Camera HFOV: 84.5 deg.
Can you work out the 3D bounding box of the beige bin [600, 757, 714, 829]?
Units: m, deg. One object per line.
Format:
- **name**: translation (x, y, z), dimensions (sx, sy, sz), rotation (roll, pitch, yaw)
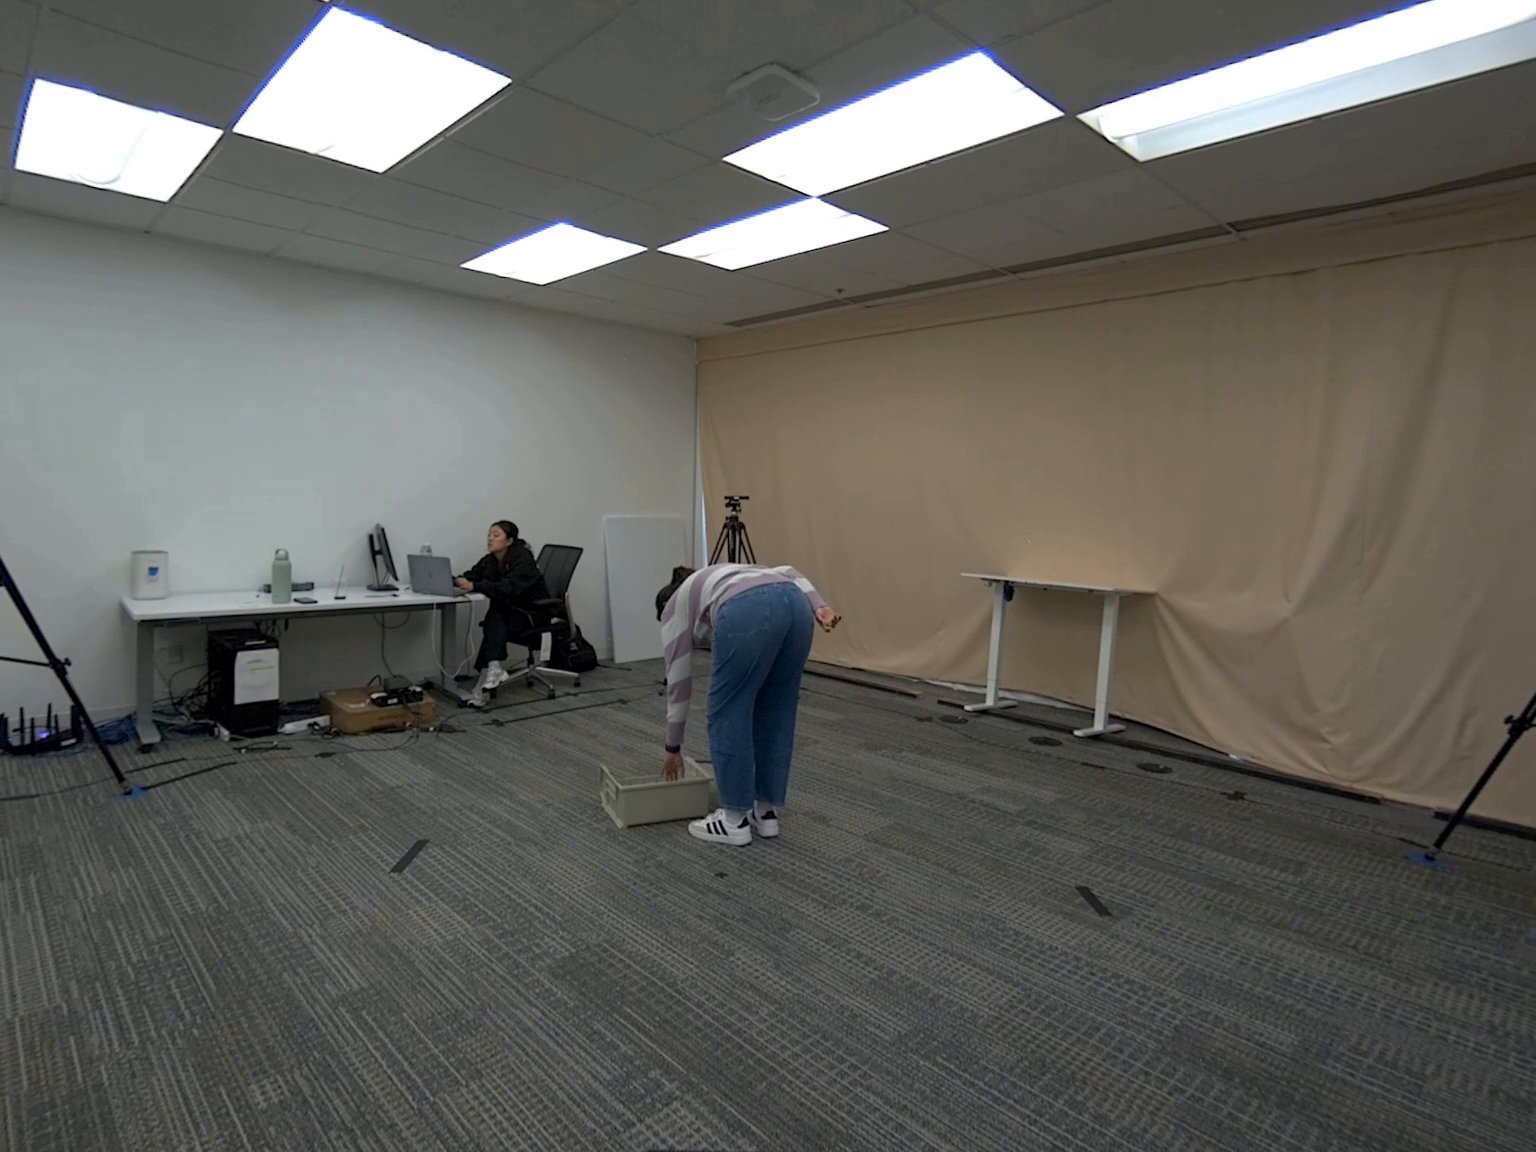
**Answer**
- **beige bin**: translation (-0.514, 0.946, 3.746), dimensions (0.415, 0.188, 0.385), rotation (0, 6, -25)
